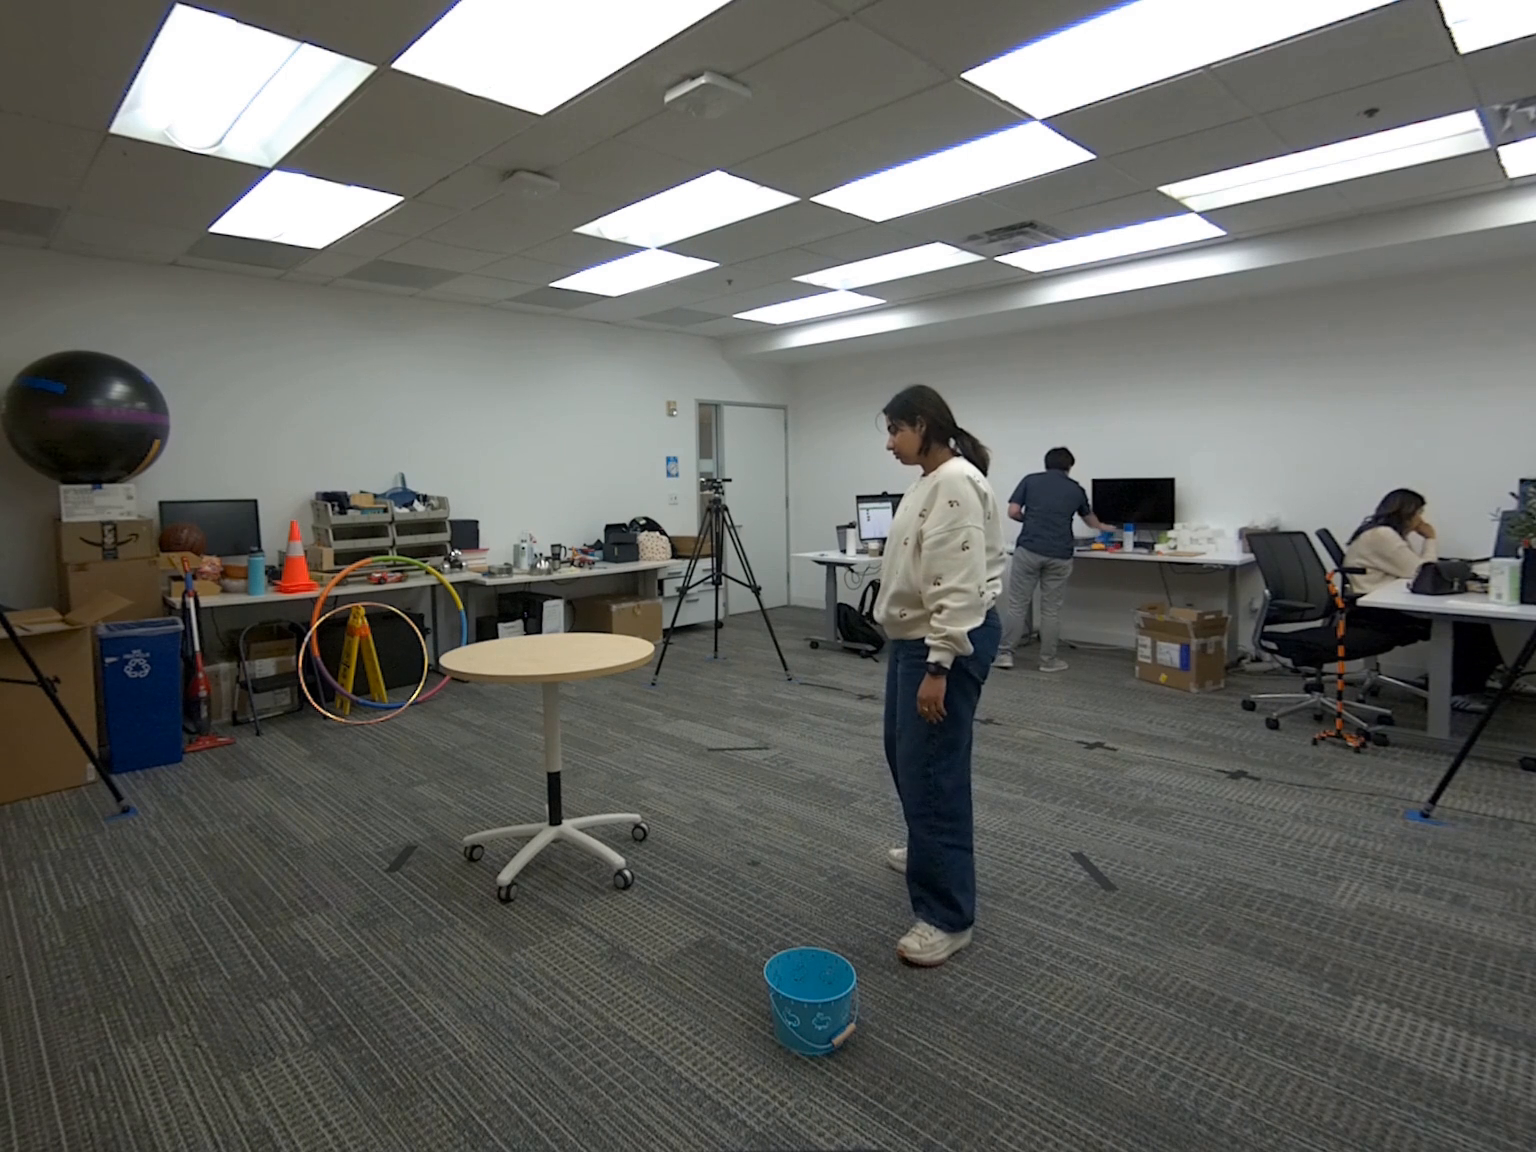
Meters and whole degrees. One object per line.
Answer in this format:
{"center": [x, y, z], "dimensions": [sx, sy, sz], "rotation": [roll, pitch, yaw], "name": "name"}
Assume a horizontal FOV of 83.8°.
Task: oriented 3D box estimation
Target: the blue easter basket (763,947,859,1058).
{"center": [0.113, 1.078, 2.152], "dimensions": [0.243, 0.155, 0.245], "rotation": [-1, 6, -2], "name": "blue easter basket"}
